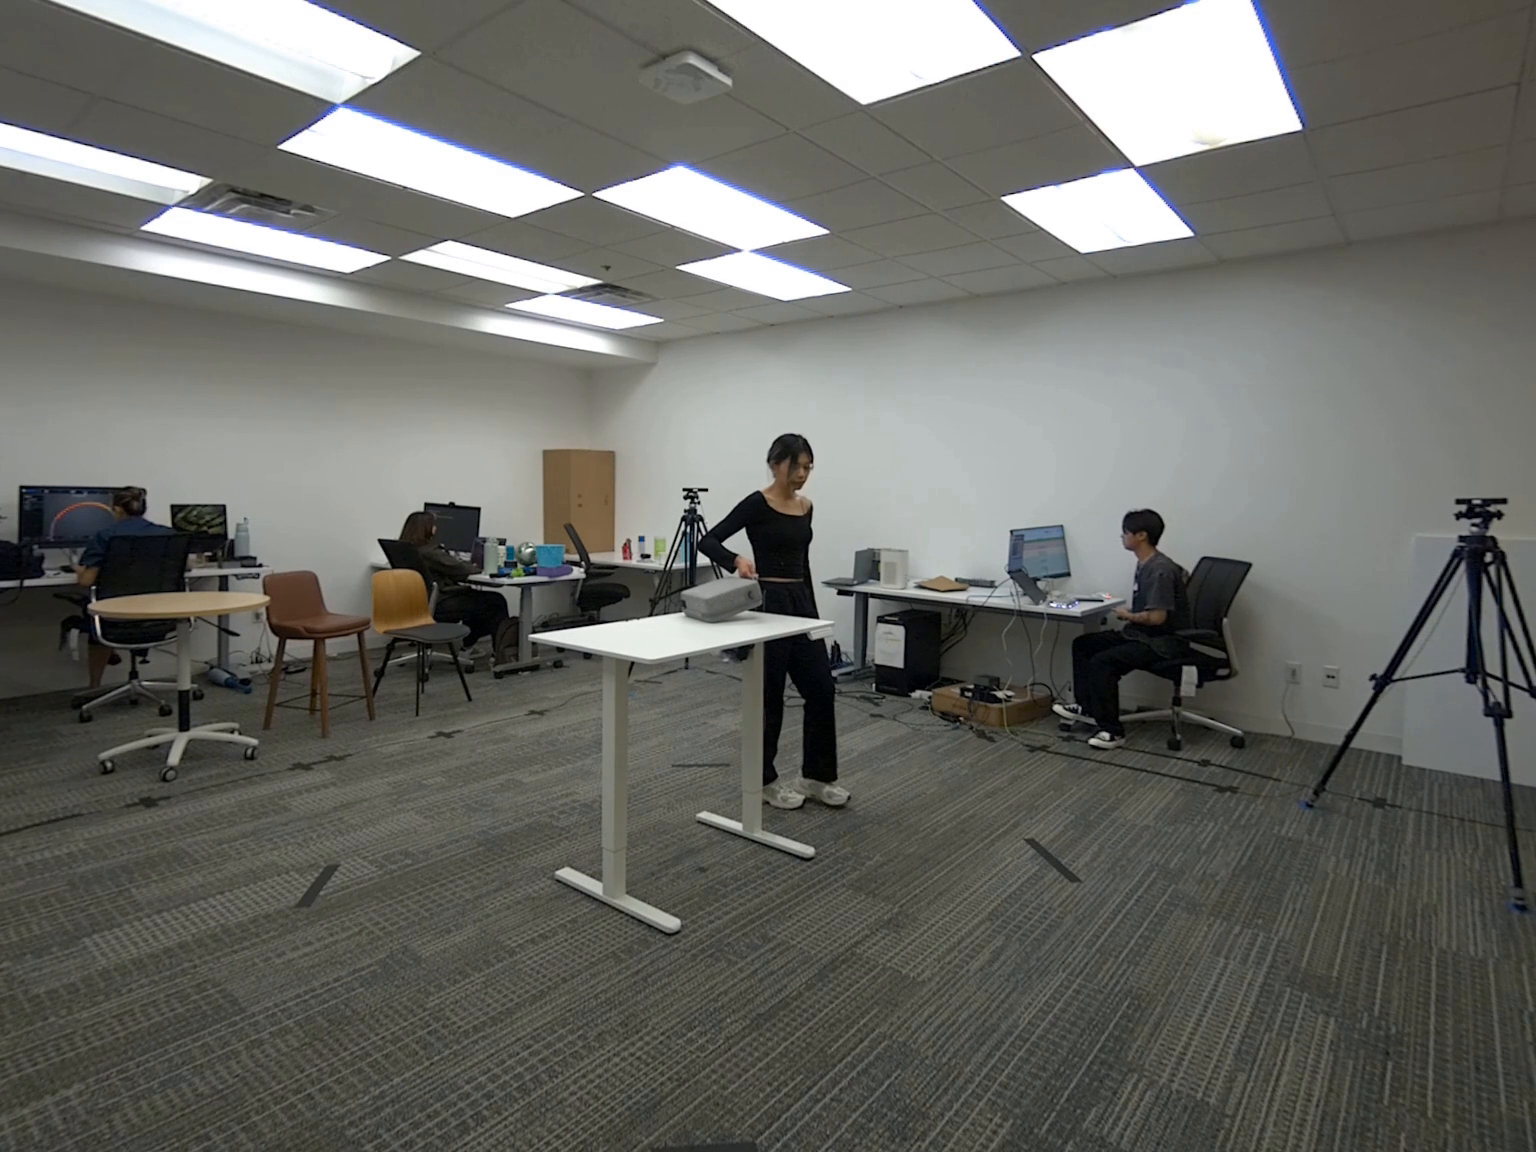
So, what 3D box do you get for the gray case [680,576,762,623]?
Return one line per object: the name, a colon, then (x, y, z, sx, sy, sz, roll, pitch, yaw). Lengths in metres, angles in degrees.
gray case: (-0.196, 0.086, 3.343, 0.256, 0.103, 0.264, -19, 12, -26)
